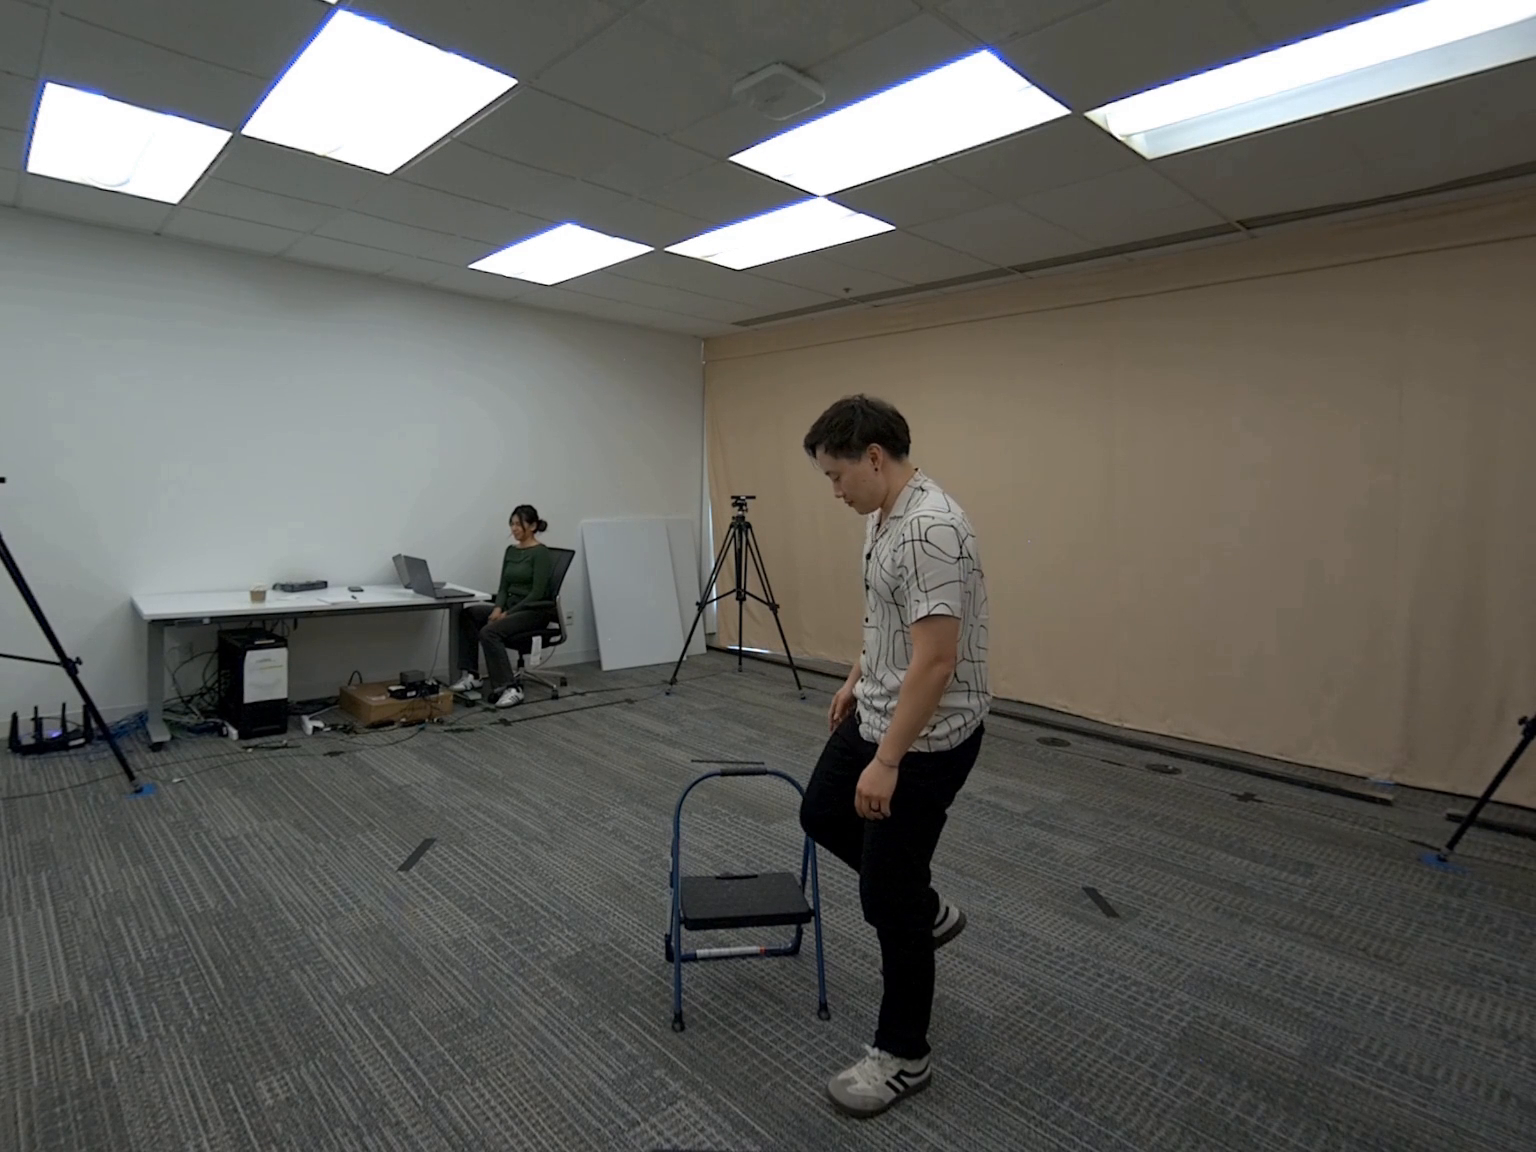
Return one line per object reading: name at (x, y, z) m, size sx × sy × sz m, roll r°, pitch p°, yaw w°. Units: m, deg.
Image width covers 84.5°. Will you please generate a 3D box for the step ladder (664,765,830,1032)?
step ladder at (-0.069, 0.874, 2.369) m, size 0.427 × 0.604 × 0.353 m, roll 1°, pitch 4°, yaw -11°
